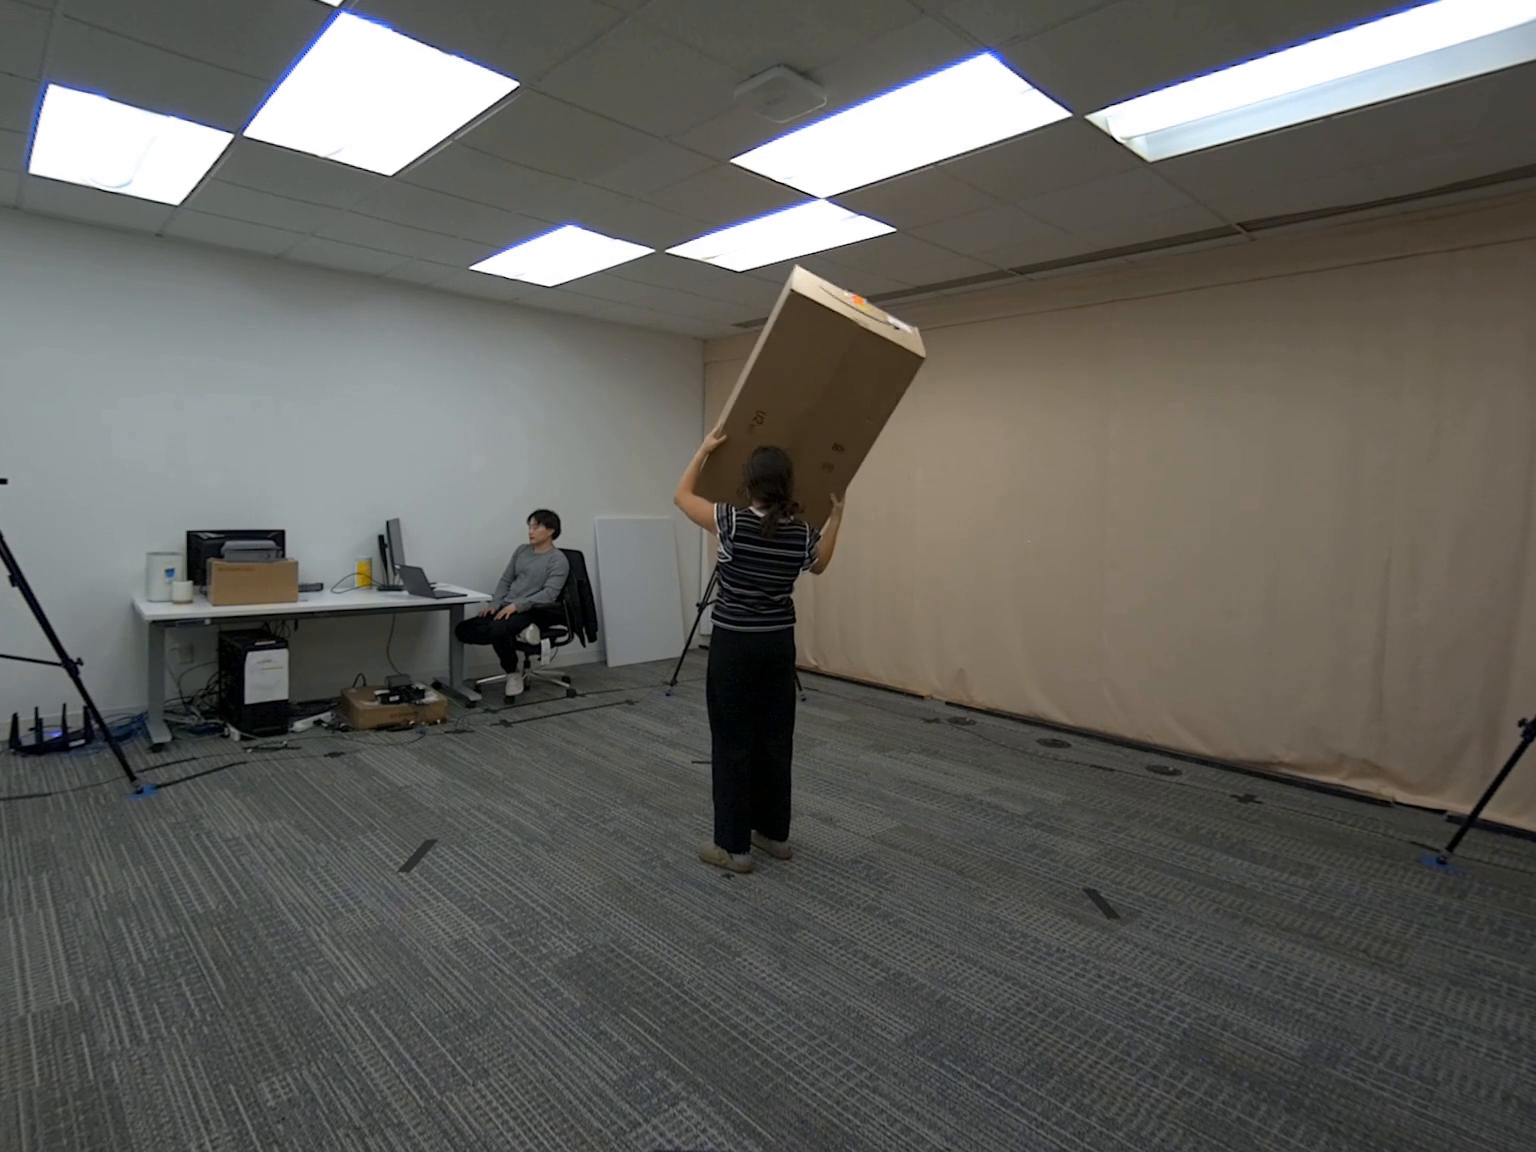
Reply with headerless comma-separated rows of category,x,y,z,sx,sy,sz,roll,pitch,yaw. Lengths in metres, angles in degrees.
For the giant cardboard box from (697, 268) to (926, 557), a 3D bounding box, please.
giant cardboard box,0.115,-0.658,3.527,0.572,1.019,0.433,25,30,-9
